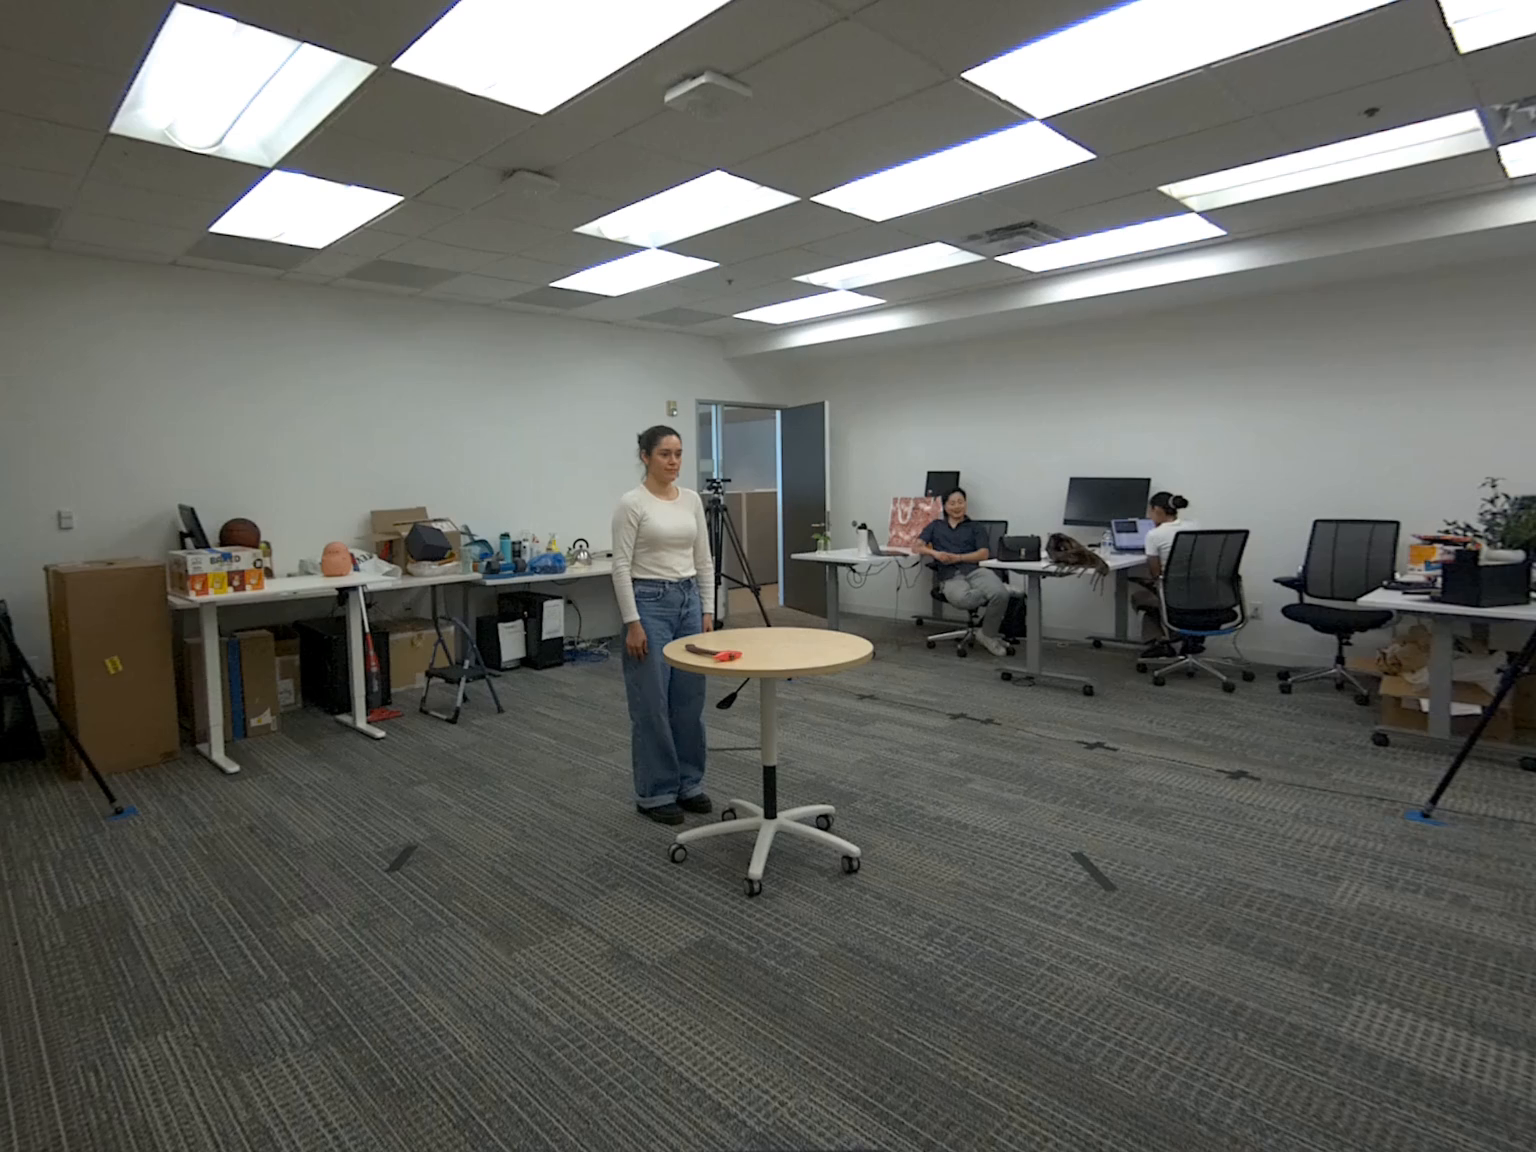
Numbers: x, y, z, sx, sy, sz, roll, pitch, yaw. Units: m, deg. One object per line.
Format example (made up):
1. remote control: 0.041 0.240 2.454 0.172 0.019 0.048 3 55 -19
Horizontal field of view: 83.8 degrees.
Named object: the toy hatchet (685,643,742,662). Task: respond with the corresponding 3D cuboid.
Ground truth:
1. toy hatchet: -0.181 0.269 3.007 0.128 0.029 0.277 -3 5 -25
